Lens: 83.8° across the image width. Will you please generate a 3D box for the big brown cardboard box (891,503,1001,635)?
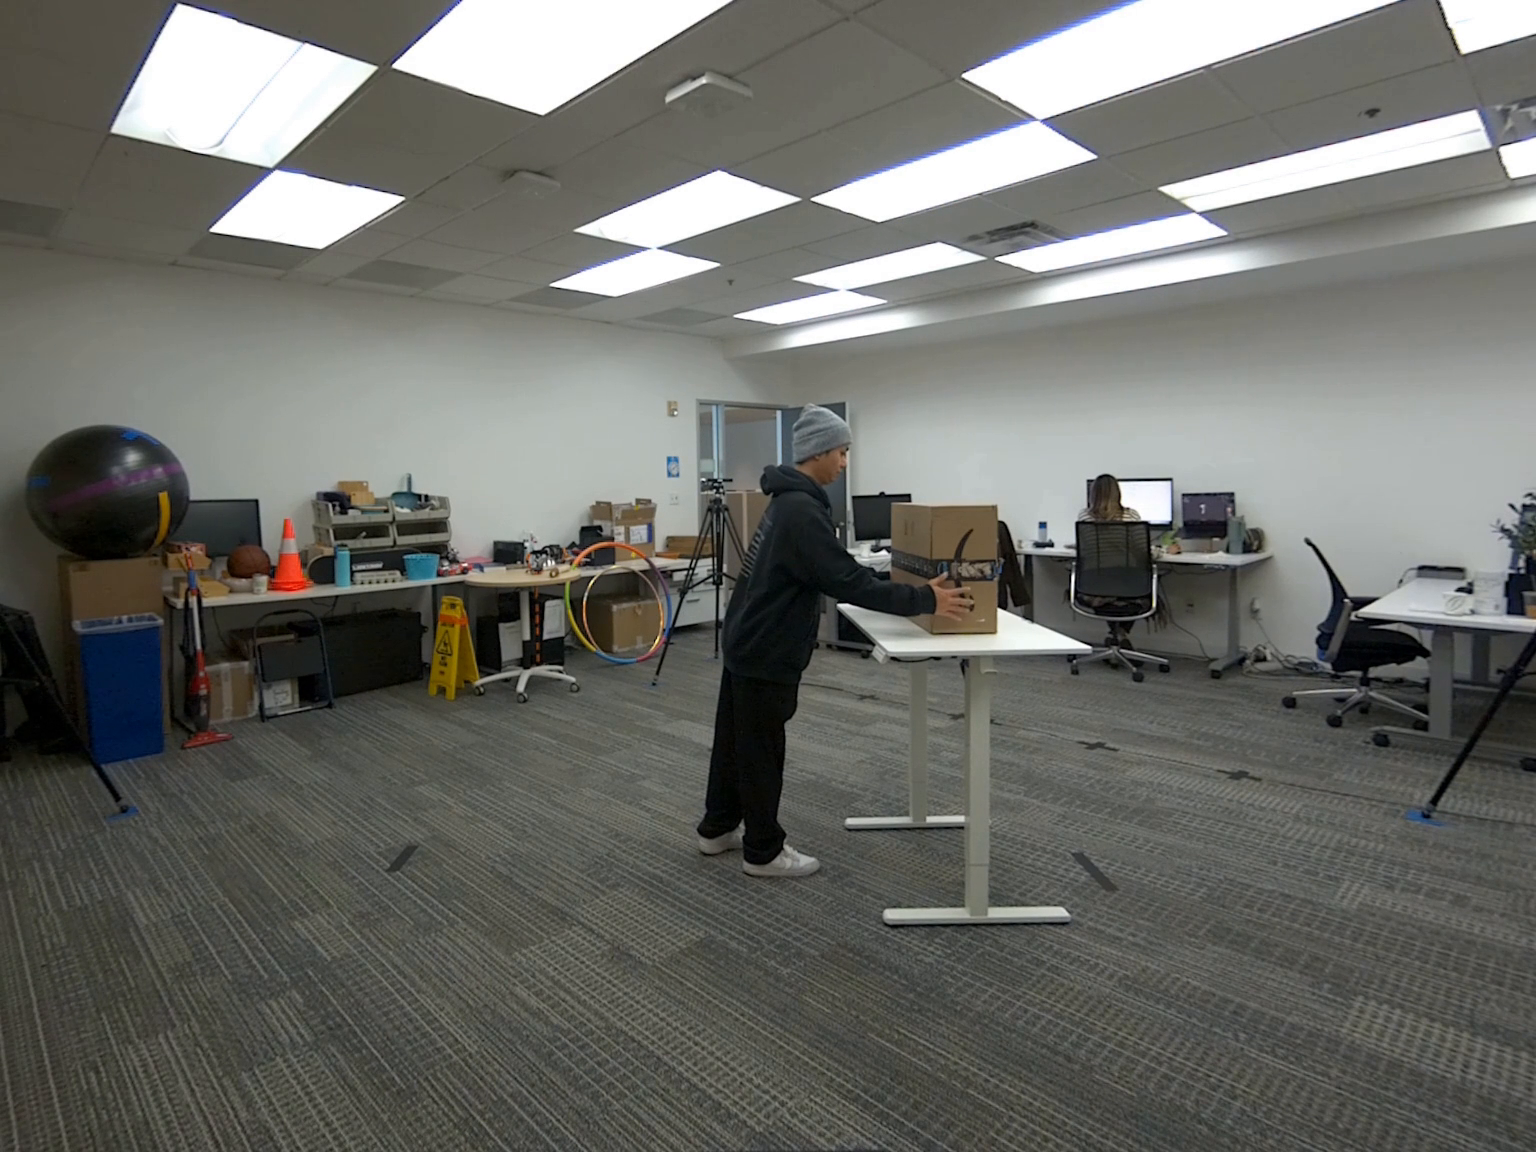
[{"bbox_3d":[0.608,-0.048,3.019,0.232,0.416,0.593,-1,6,-5],"label":"big brown cardboard box"}]
